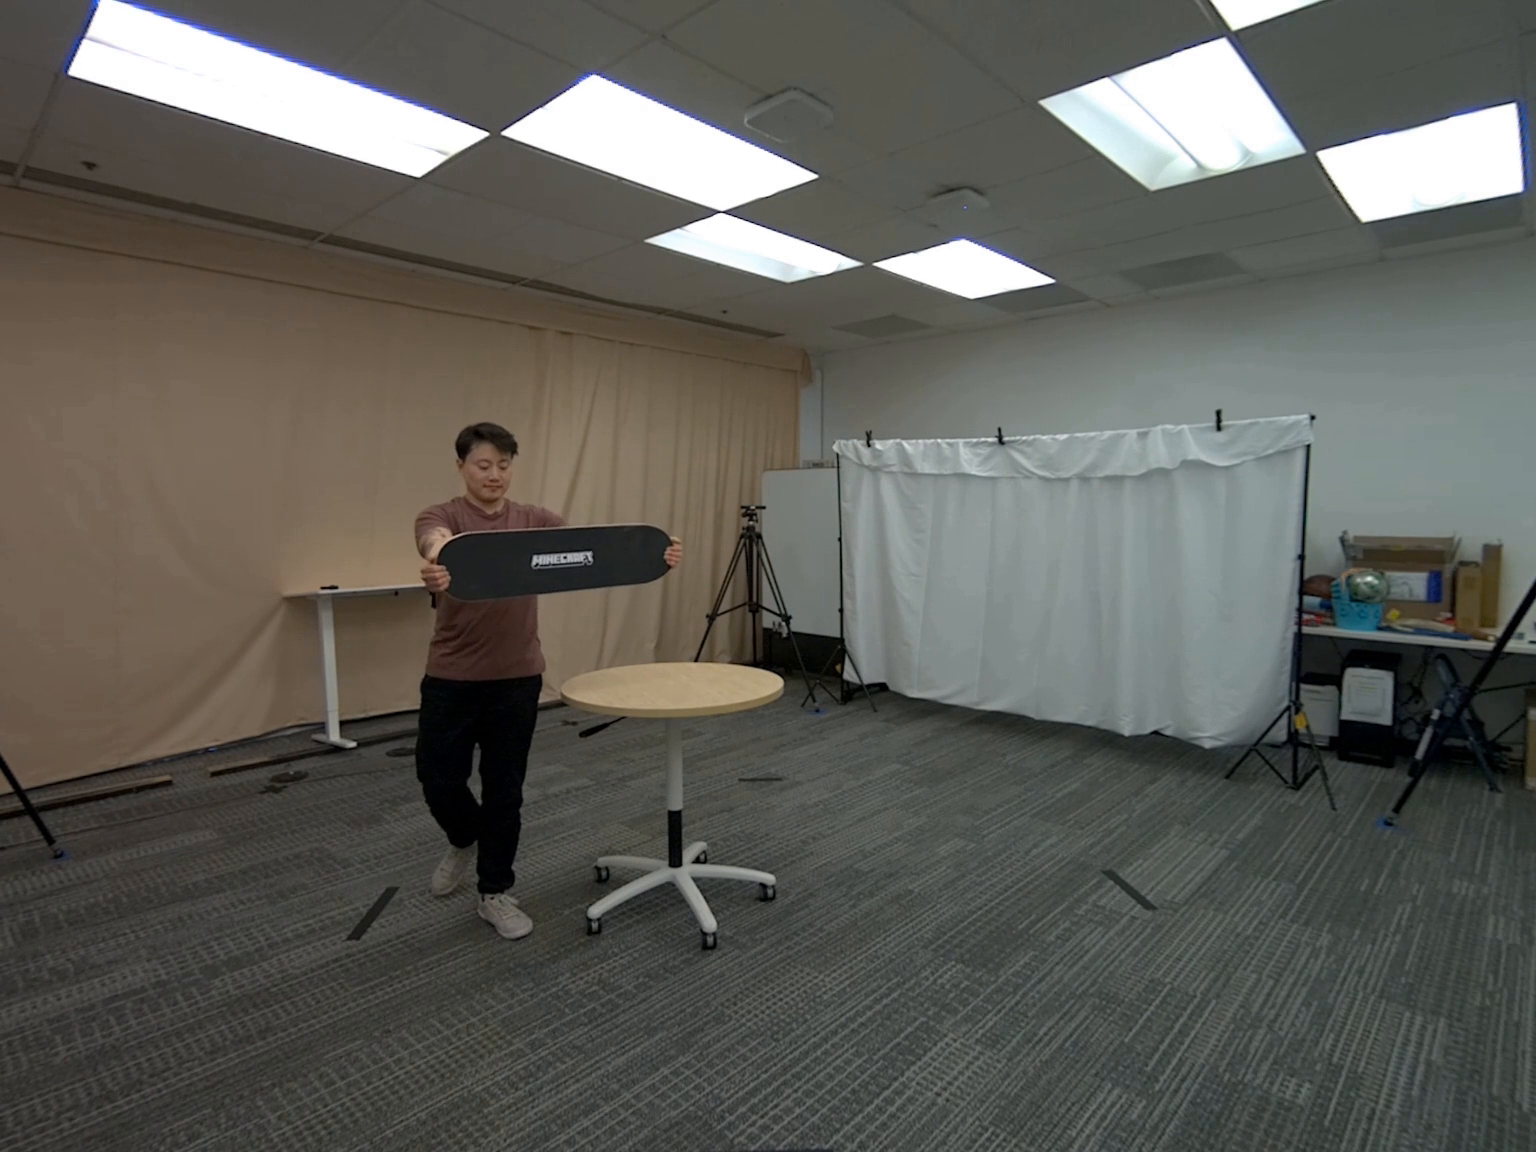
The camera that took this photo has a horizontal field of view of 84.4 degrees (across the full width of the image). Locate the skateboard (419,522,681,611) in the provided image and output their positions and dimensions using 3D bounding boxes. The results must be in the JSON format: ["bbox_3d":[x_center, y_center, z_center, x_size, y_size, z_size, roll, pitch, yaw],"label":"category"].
[{"bbox_3d":[-0.624,-0.041,2.530,0.762,0.194,0.113,-6,-3,-40],"label":"skateboard"}]
